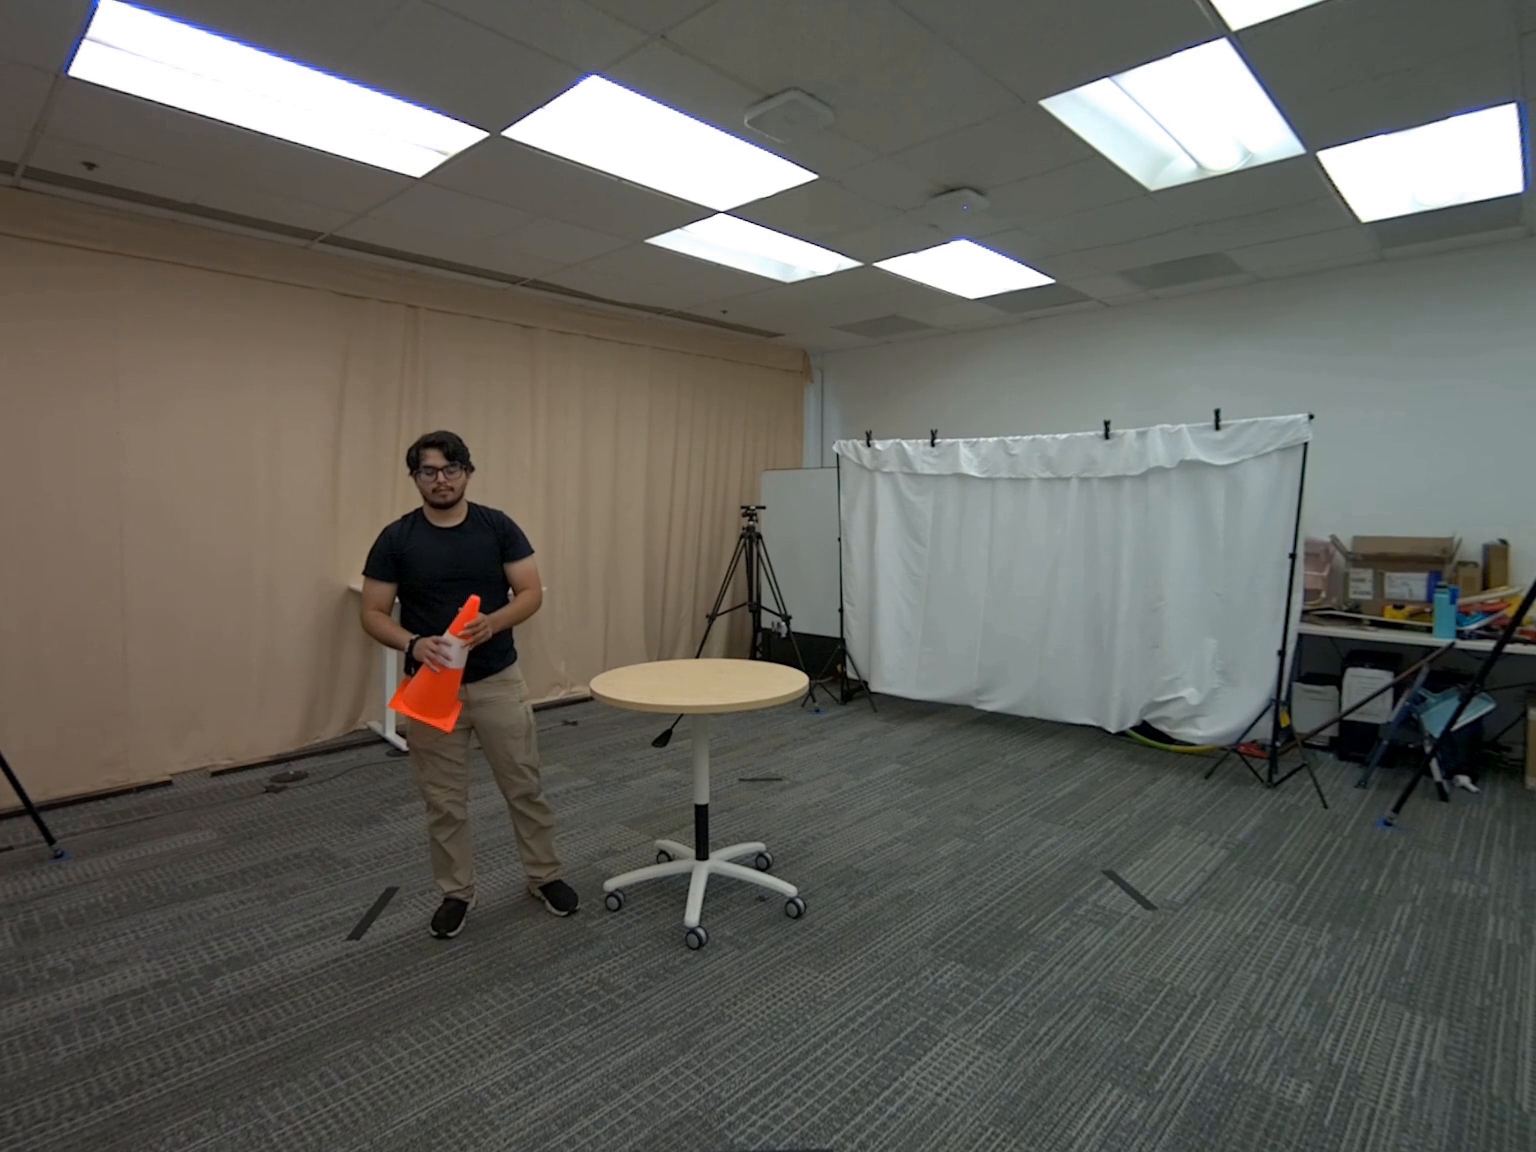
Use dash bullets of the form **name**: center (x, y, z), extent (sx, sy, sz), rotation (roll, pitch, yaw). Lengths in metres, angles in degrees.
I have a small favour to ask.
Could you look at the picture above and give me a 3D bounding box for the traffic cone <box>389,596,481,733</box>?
- **traffic cone**: center (-0.951, 0.232, 2.515), extent (0.200, 0.383, 0.208), rotation (25, 13, -13)
